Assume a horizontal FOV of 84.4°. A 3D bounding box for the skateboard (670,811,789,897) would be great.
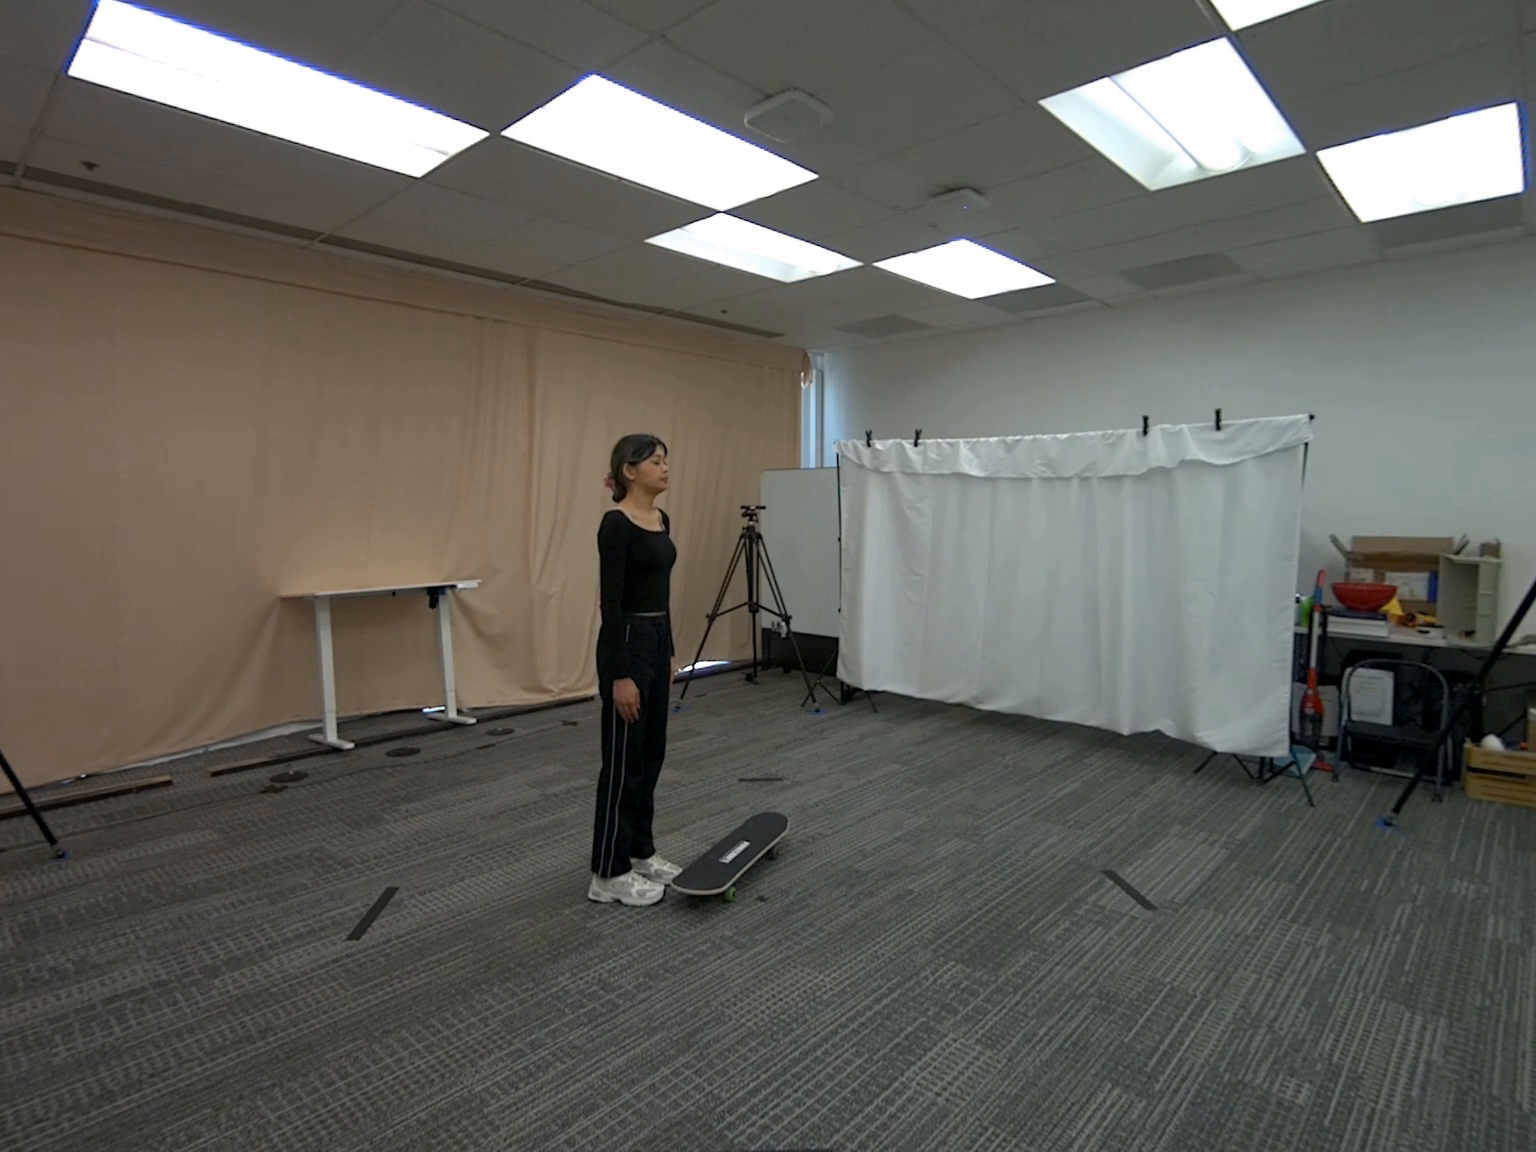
[{"bbox_3d":[-0.123,1.071,3.173,0.198,0.110,0.768,1,5,24],"label":"skateboard"}]
